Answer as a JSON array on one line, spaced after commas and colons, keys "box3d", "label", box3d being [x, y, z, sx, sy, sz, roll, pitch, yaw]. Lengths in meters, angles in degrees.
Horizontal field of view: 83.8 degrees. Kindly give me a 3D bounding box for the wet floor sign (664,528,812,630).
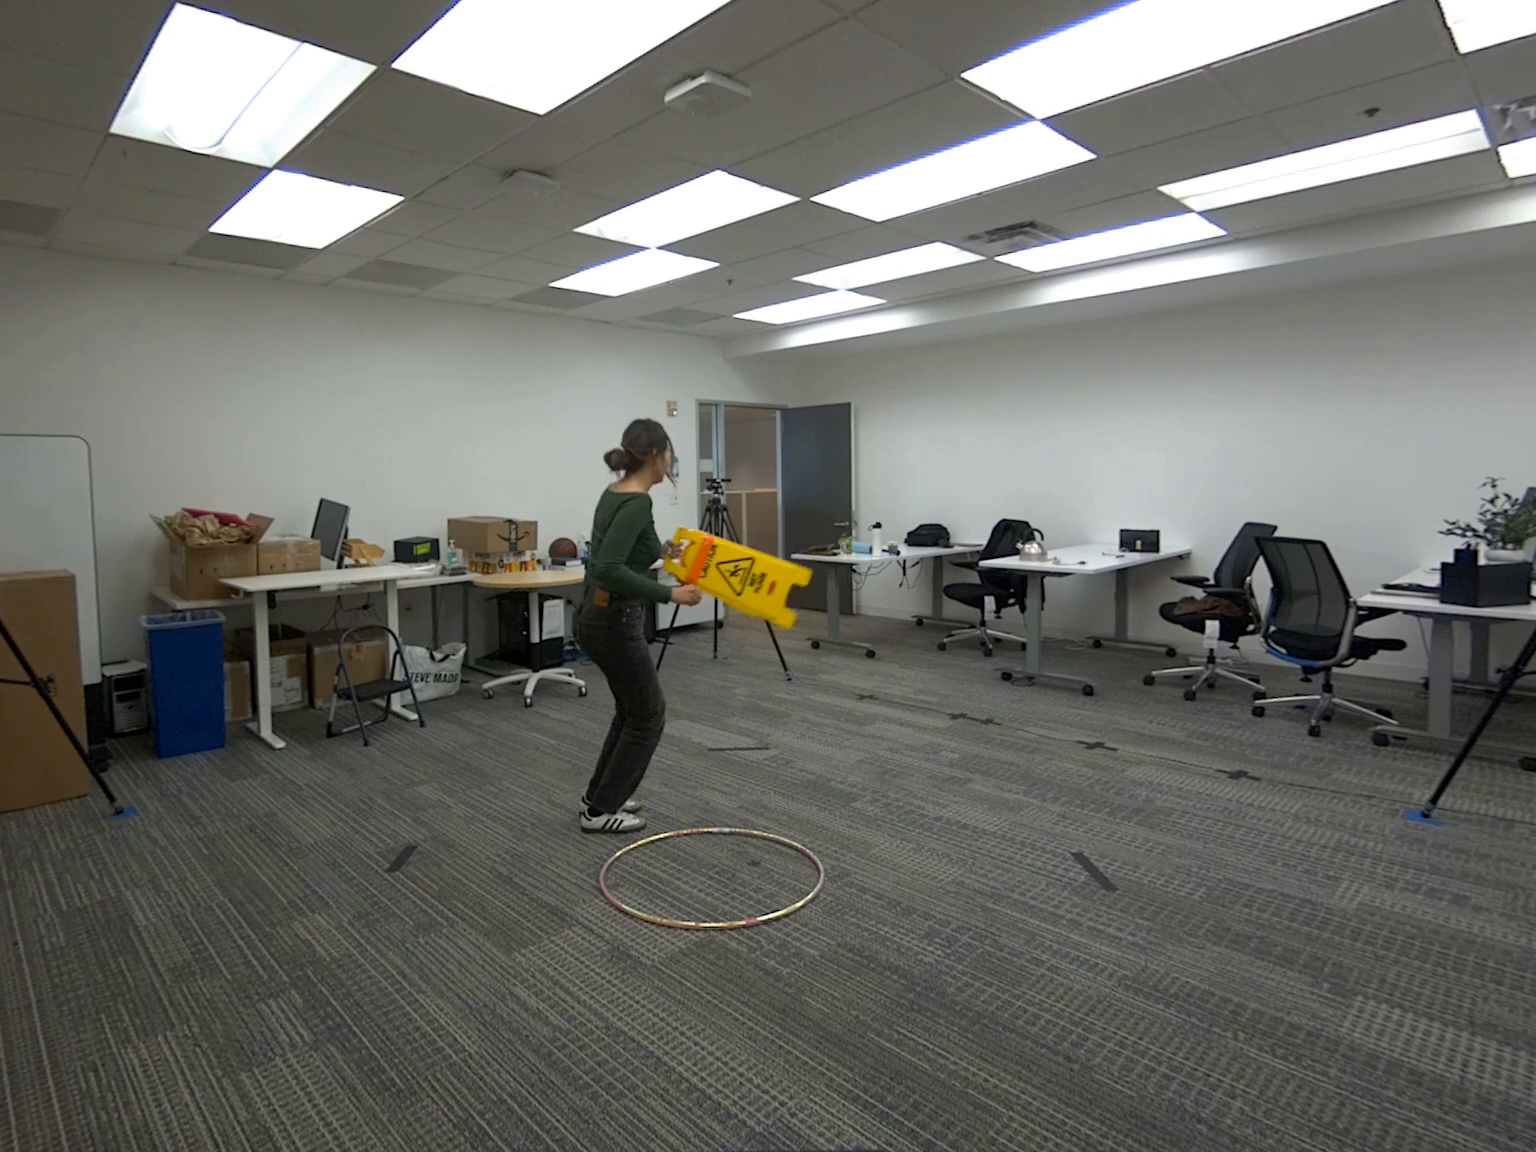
[{"box3d": [-0.202, 0.008, 3.702, 0.624, 0.283, 0.299, 23, -4, -34], "label": "wet floor sign"}]
